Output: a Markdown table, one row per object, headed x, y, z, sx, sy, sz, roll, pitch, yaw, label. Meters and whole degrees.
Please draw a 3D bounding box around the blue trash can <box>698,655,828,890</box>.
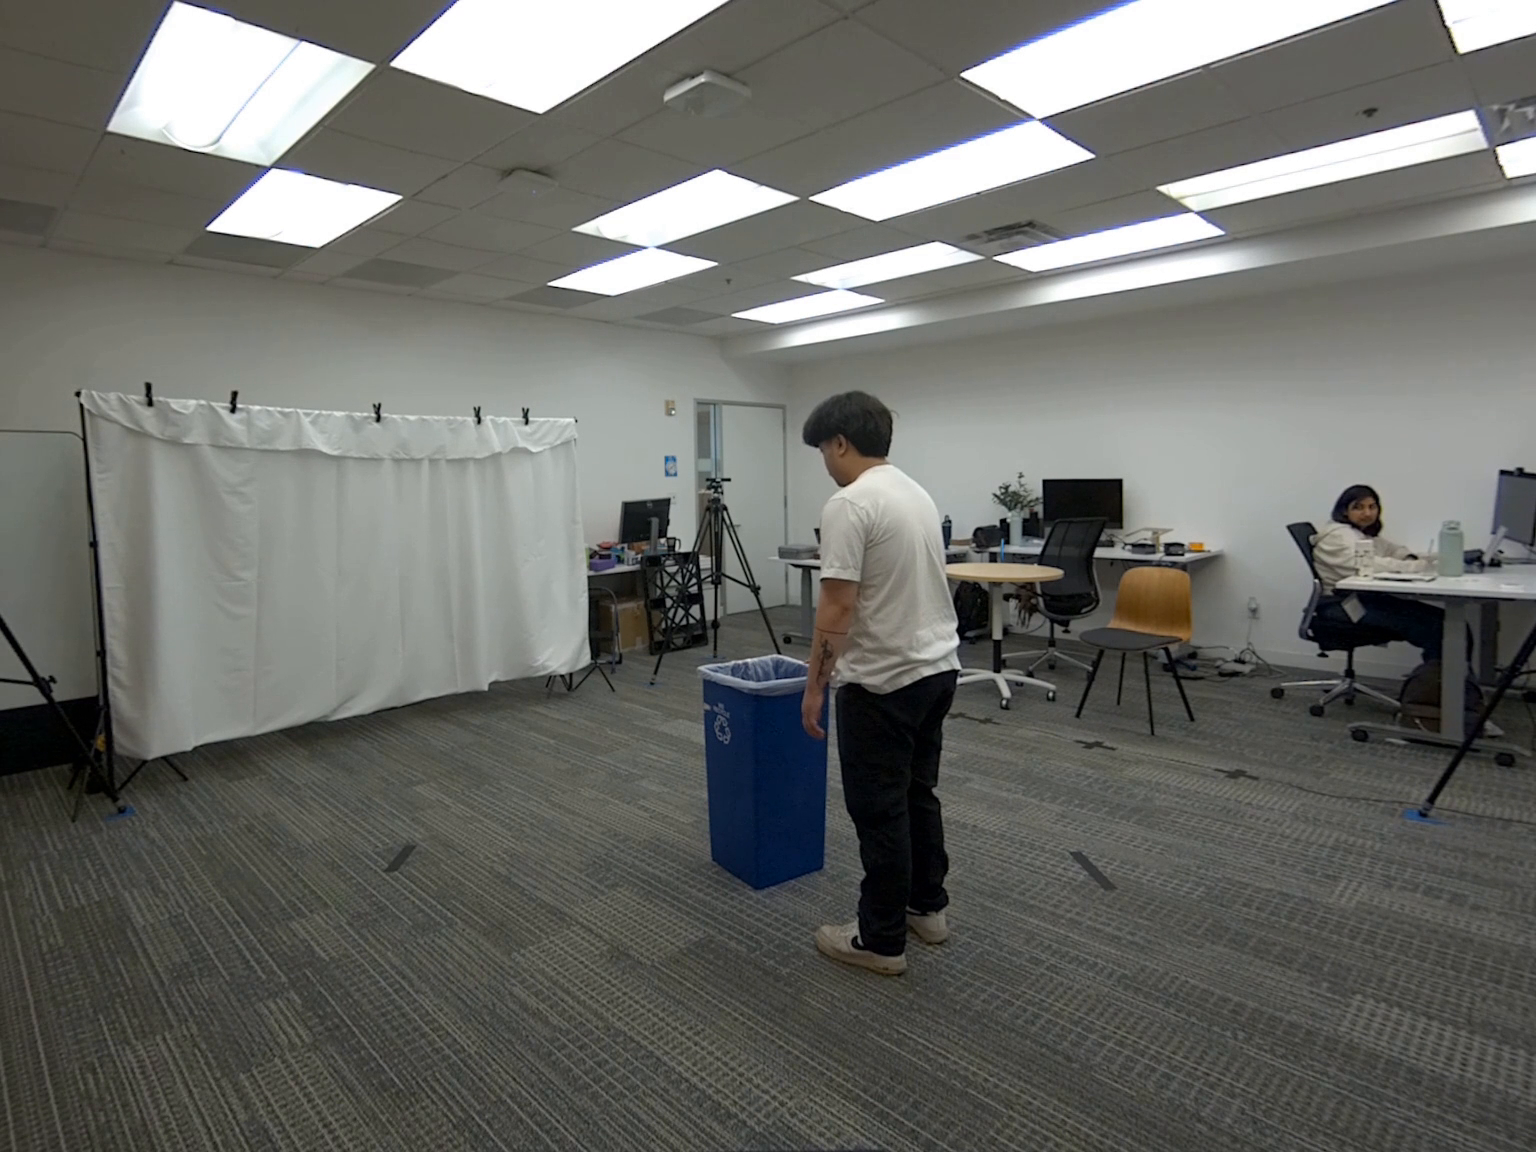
| x | y | z | sx | sy | sz | roll | pitch | yaw | label |
| --- | --- | --- | --- | --- | --- | --- | --- | --- | --- |
| 0.000 | 0.687 | 3.069 | 0.368 | 0.711 | 0.385 | -4 | 5 | -35 | blue trash can |
